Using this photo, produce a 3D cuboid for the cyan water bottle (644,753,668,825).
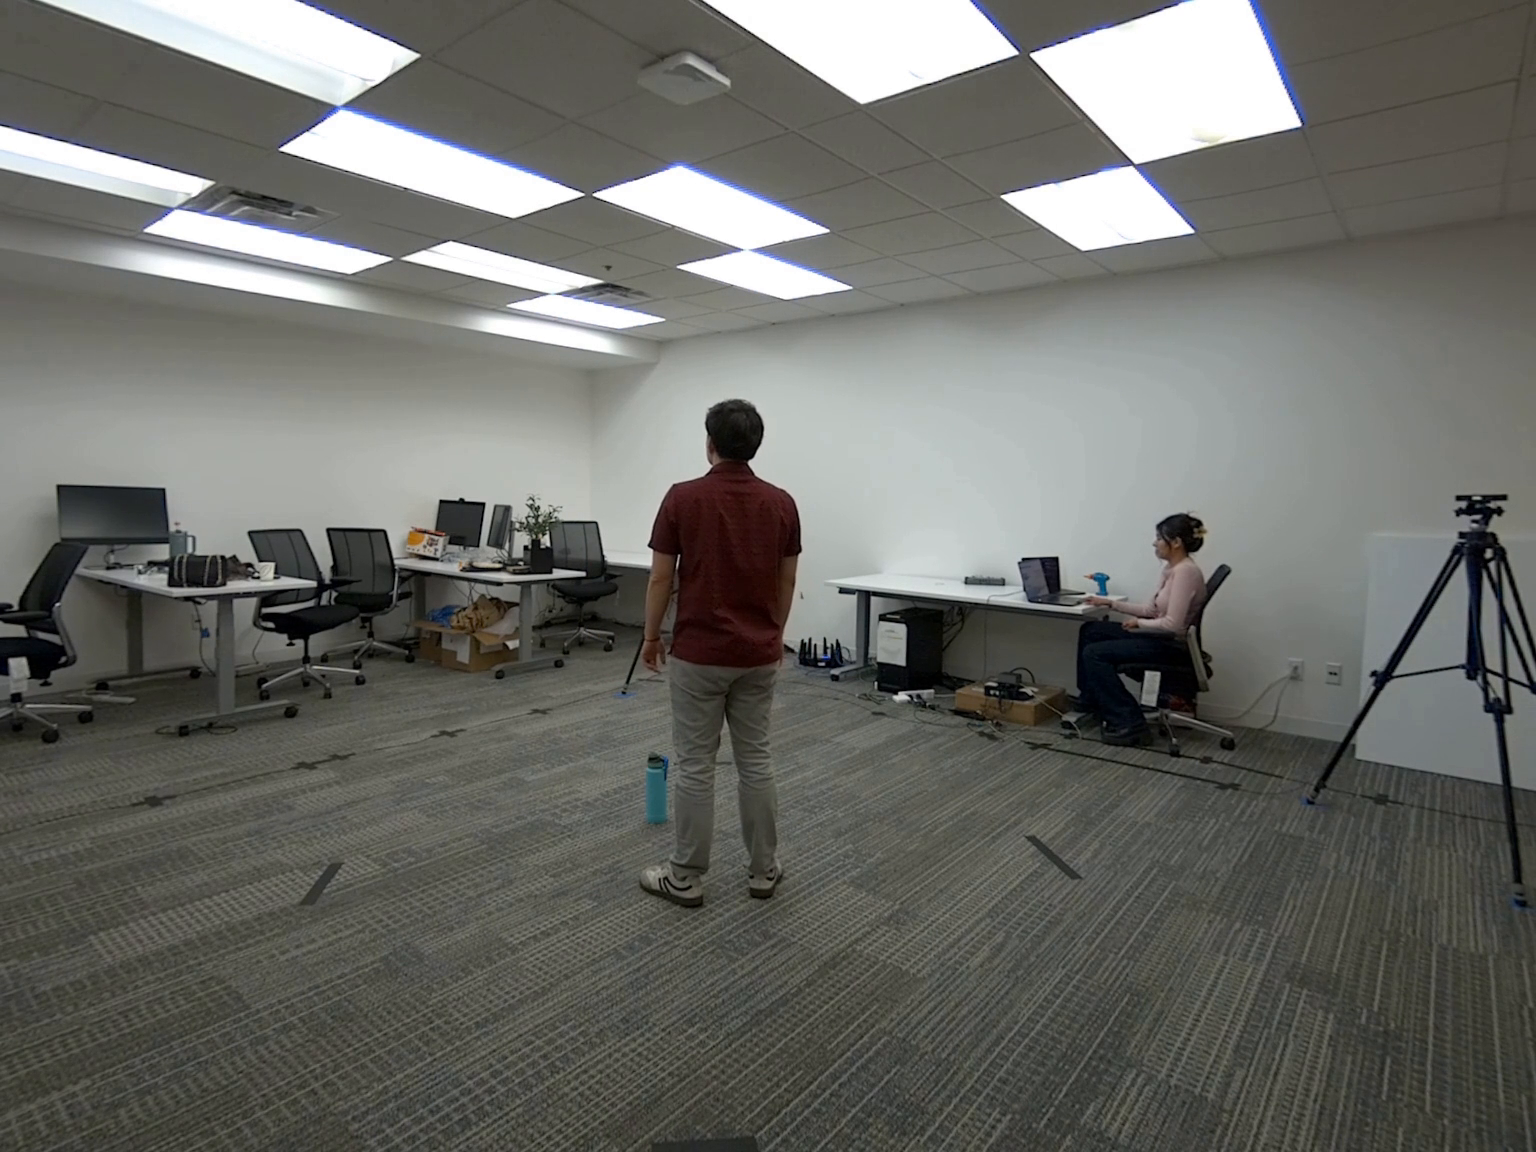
[{"bbox_3d":[-0.479,0.878,3.554,0.092,0.282,0.093,1,4,-2],"label":"cyan water bottle"}]
